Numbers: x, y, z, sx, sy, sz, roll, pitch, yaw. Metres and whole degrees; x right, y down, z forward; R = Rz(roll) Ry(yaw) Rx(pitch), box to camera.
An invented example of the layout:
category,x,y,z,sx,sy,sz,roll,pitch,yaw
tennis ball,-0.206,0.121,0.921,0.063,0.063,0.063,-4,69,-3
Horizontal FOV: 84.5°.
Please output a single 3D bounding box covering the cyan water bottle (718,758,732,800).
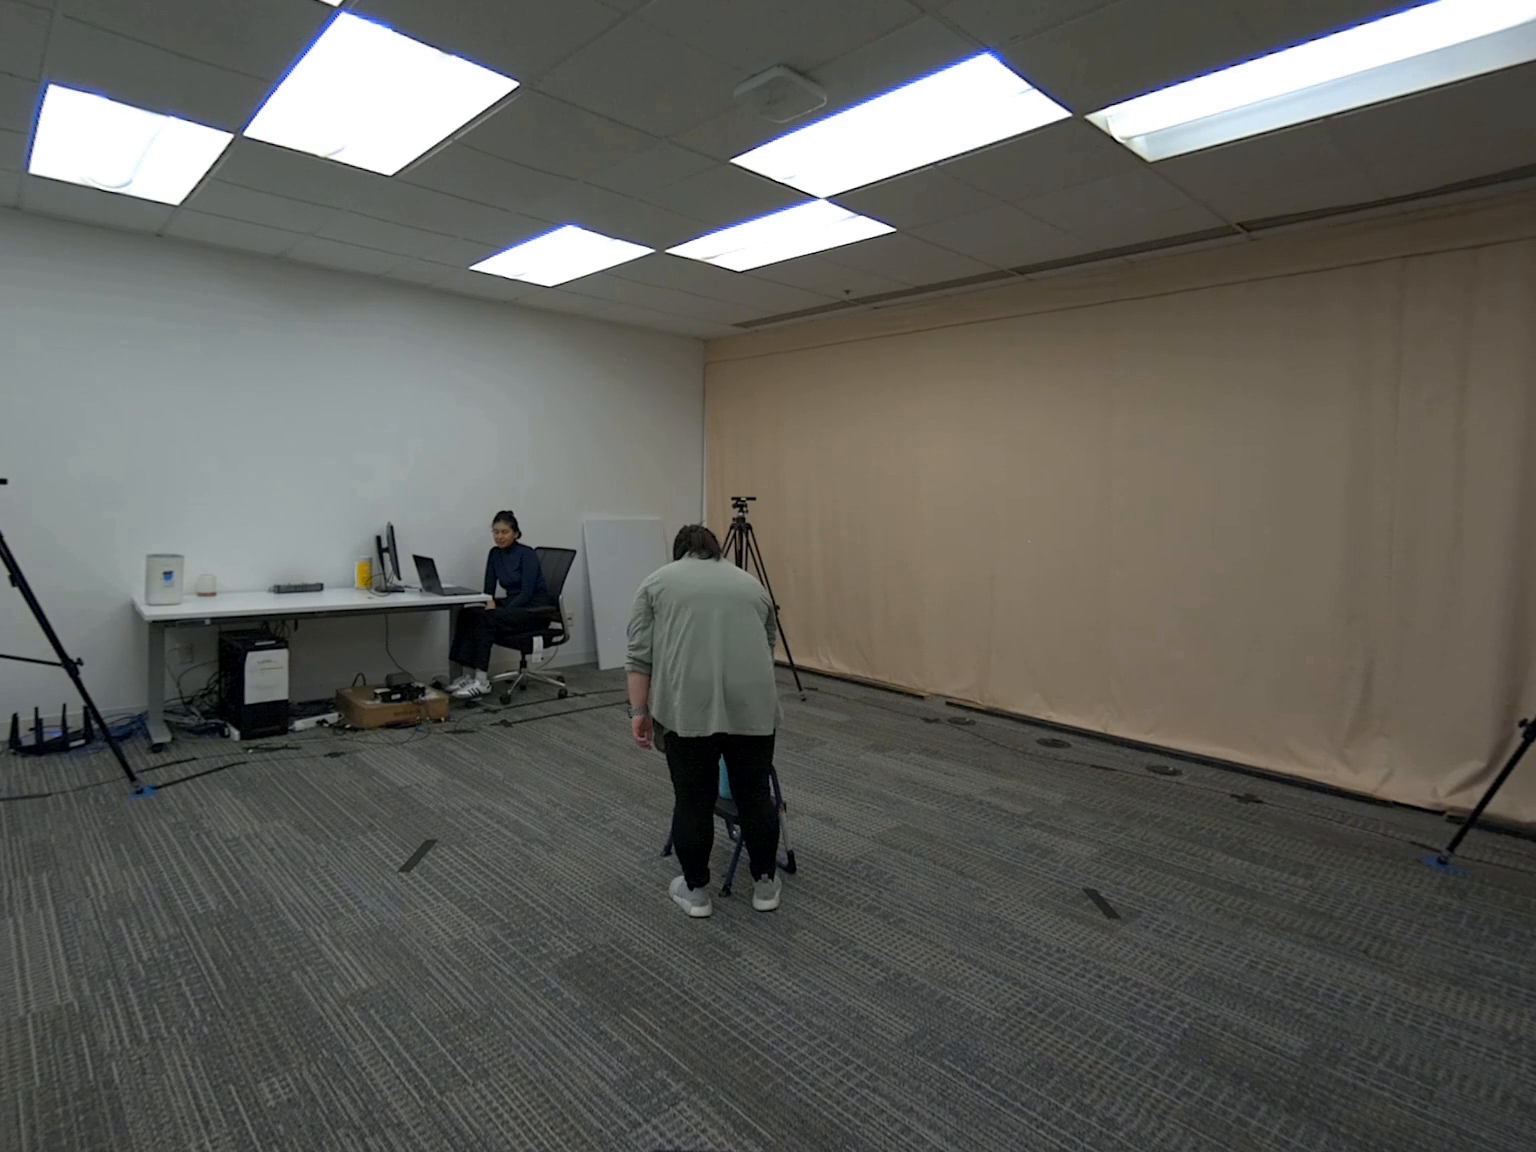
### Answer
category,x,y,z,sx,sy,sz,roll,pitch,yaw
cyan water bottle,-0.144,0.702,3.196,0.092,0.282,0.093,0,4,-1
